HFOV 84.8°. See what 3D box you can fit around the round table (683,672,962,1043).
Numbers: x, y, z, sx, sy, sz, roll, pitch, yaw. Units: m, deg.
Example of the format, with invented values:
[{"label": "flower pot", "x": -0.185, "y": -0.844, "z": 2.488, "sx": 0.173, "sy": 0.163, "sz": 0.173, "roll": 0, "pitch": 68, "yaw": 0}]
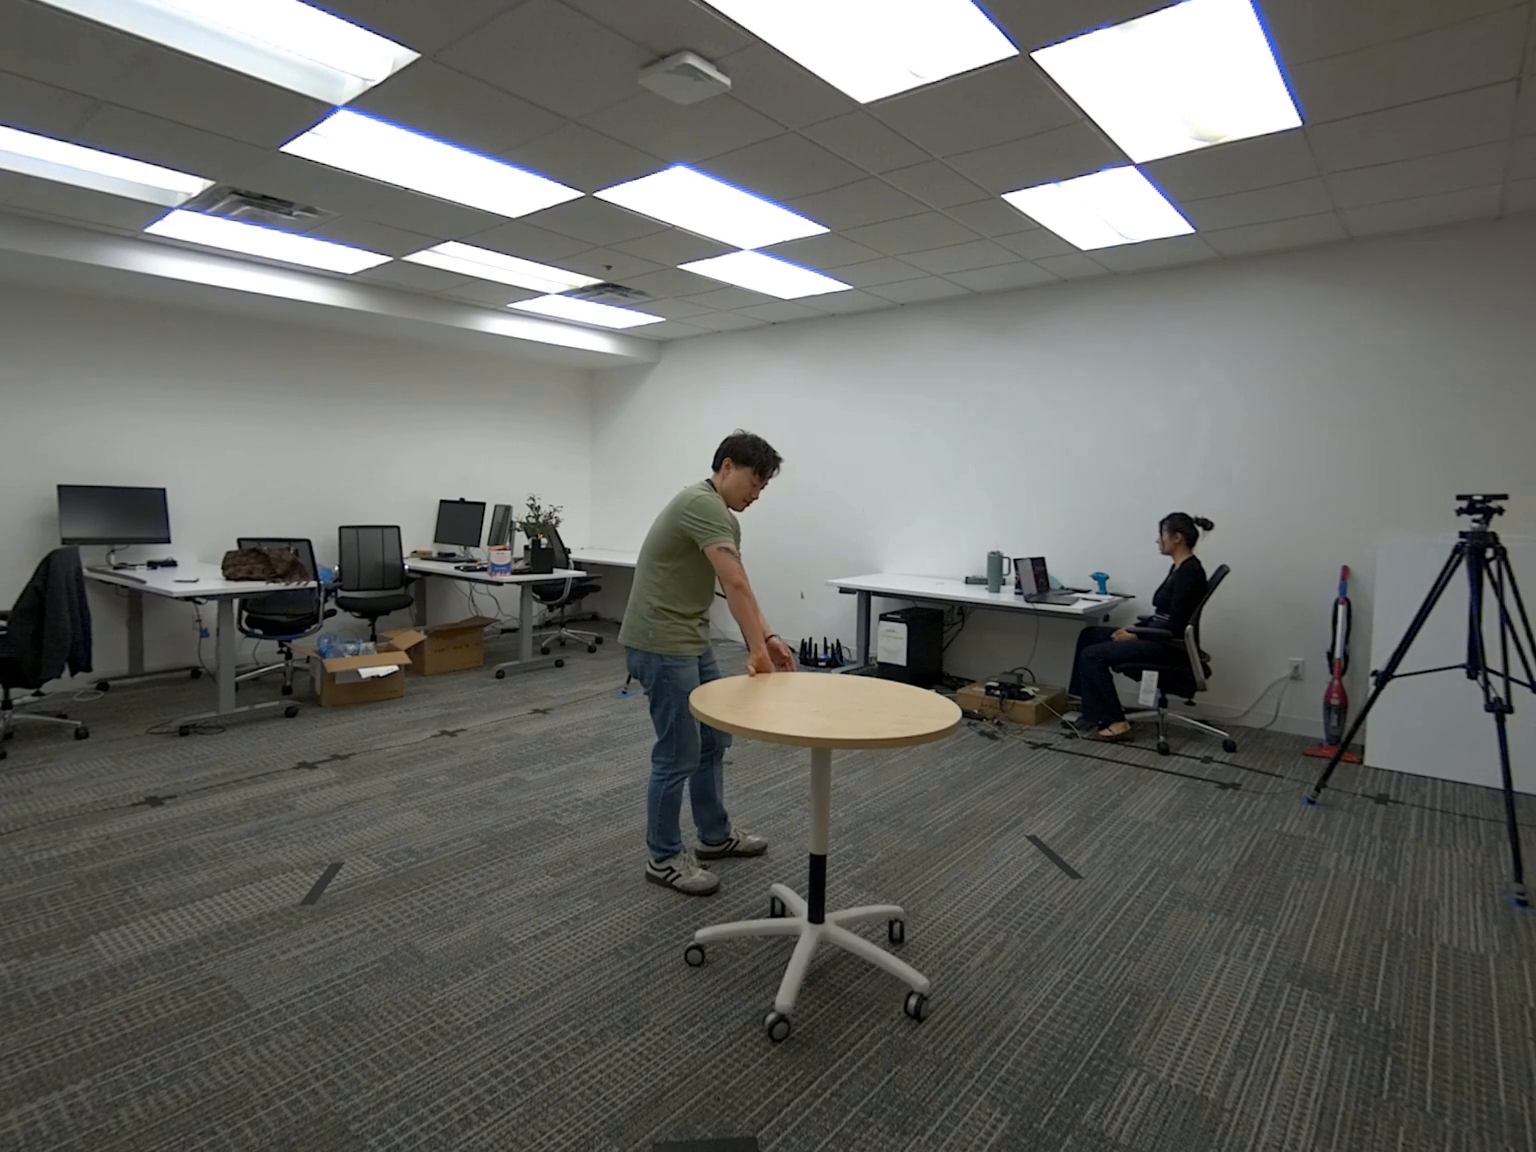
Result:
[{"label": "round table", "x": 0.133, "y": 0.744, "z": 2.458, "sx": 0.763, "sy": 0.791, "sz": 0.768, "roll": 2, "pitch": 4, "yaw": -2}]
